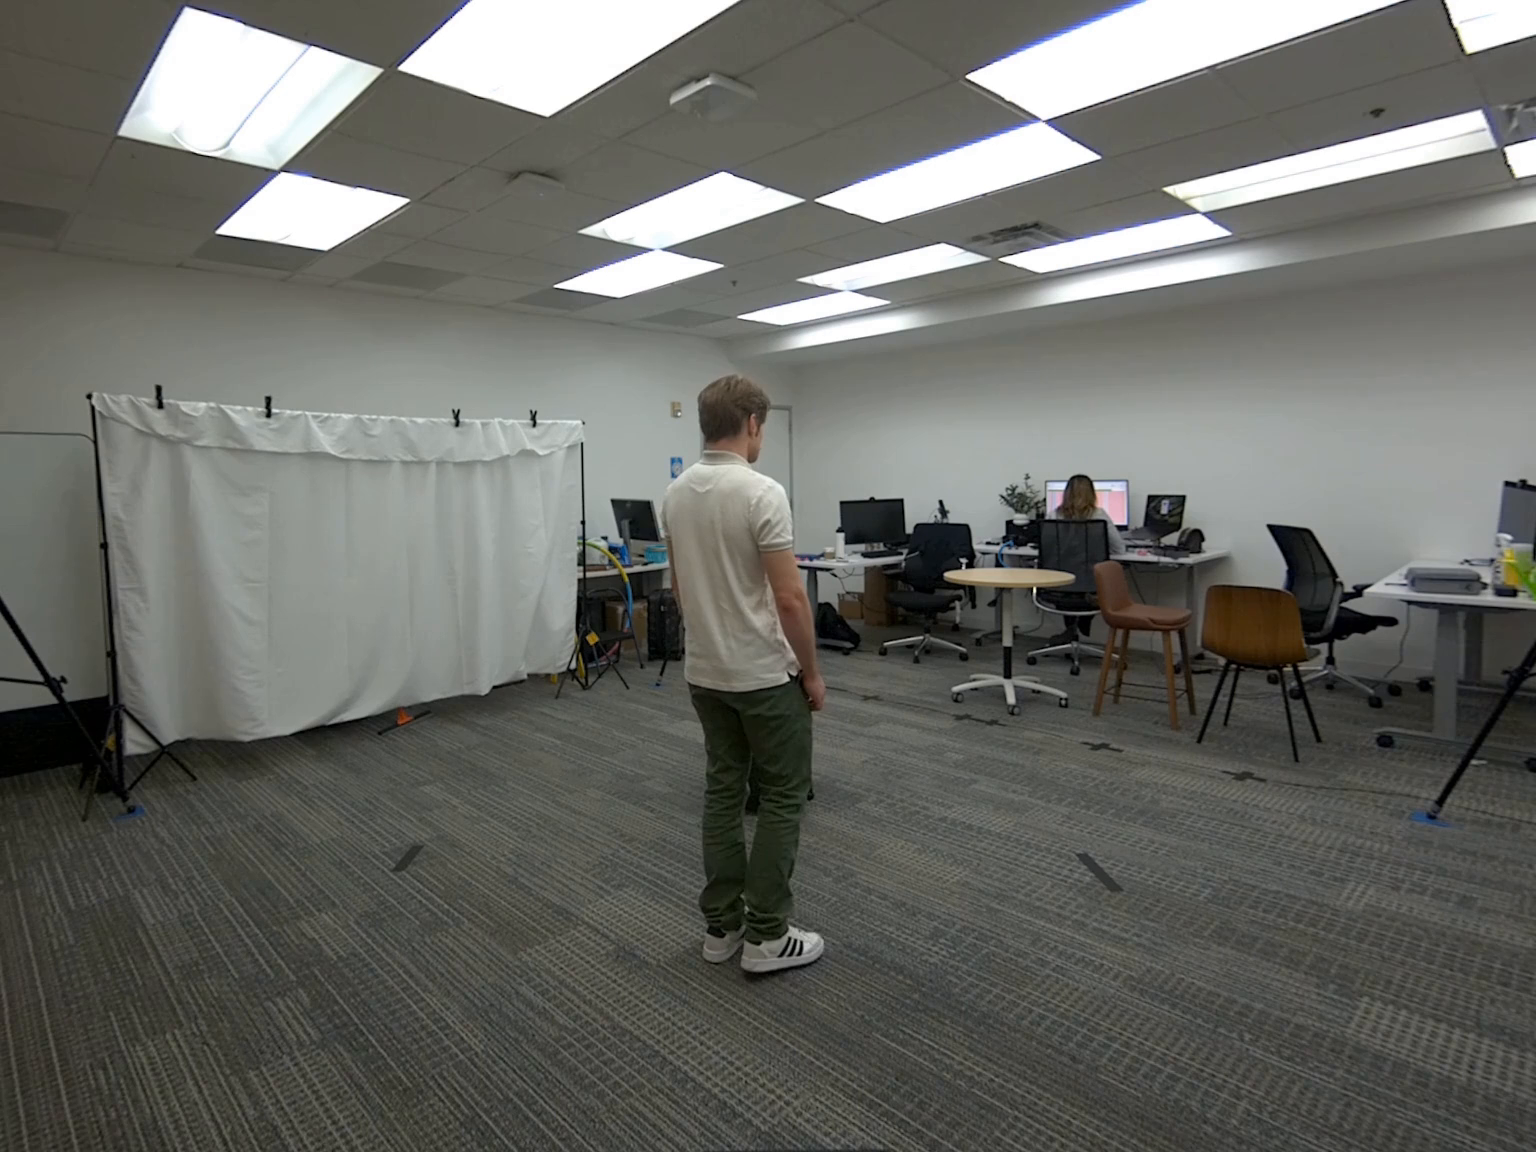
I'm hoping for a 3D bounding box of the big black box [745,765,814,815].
[{"bbox_3d":[-0.014,0.551,3.745,0.385,0.866,0.526,-1,4,-3],"label":"big black box"}]
